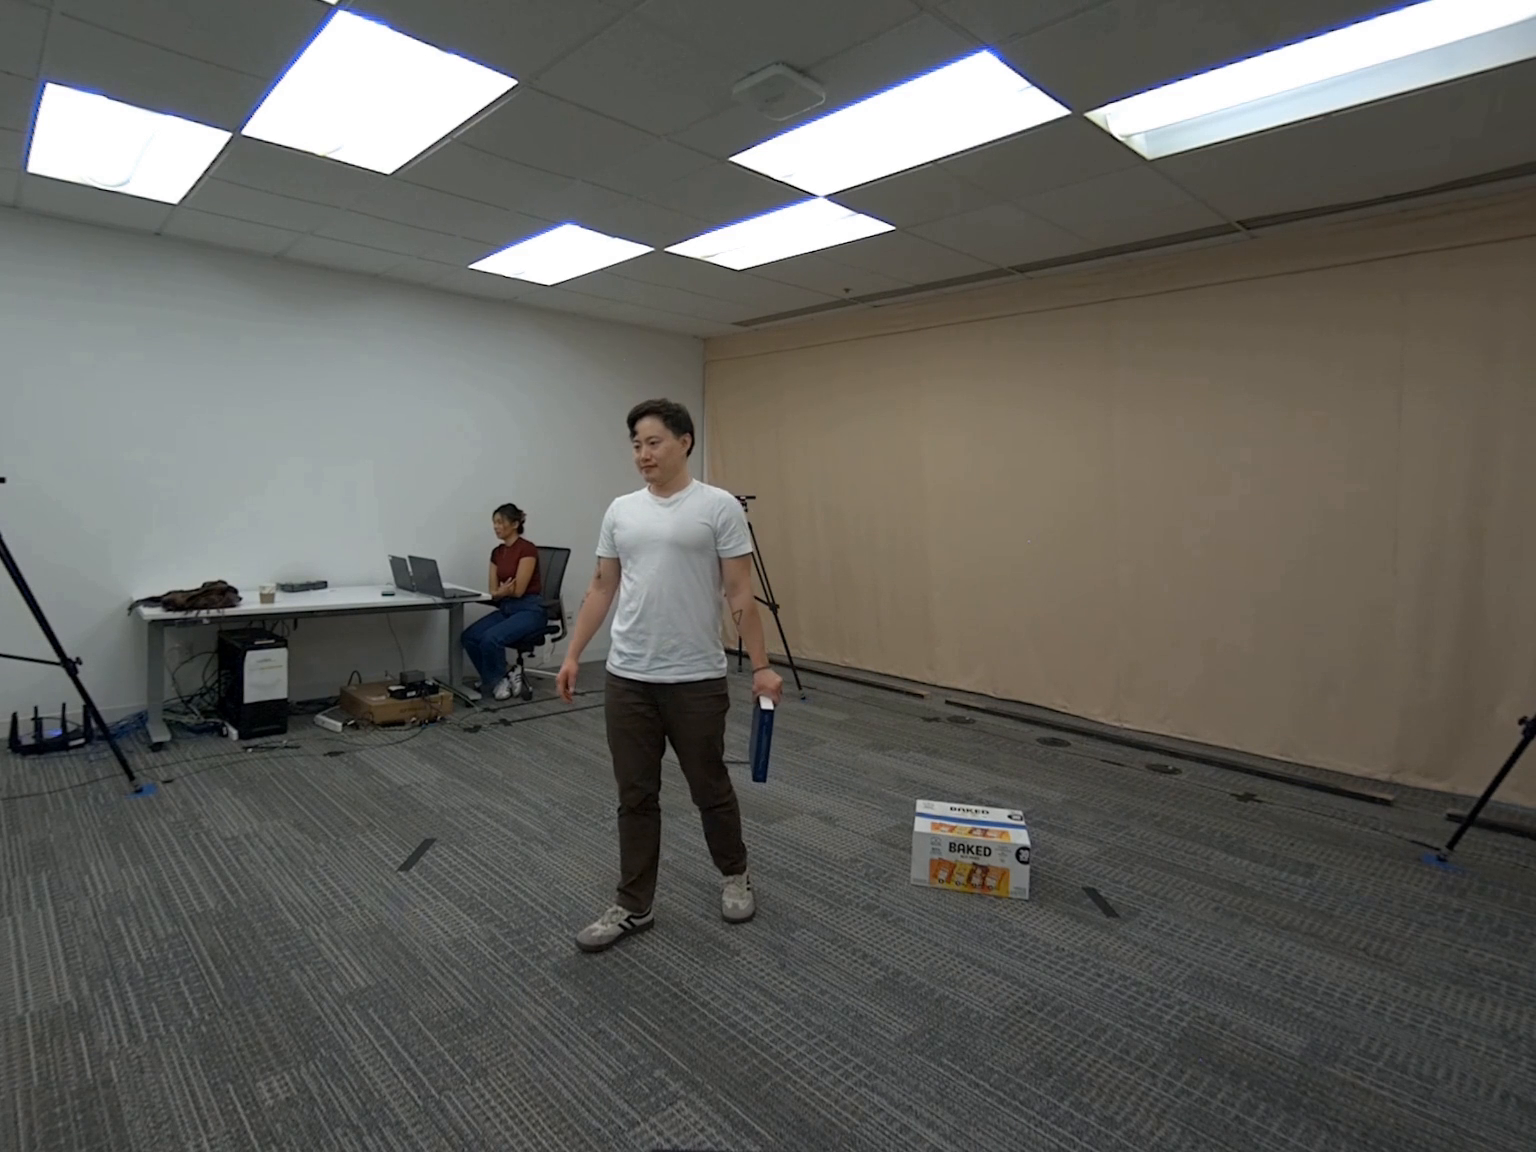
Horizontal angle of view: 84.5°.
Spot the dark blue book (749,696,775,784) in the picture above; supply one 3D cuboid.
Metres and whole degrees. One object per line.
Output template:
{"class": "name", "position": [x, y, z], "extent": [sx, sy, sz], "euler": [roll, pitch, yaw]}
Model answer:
{"class": "dark blue book", "position": [-0.037, 0.482, 2.555], "extent": [0.045, 0.242, 0.166], "euler": [3, 16, -7]}
